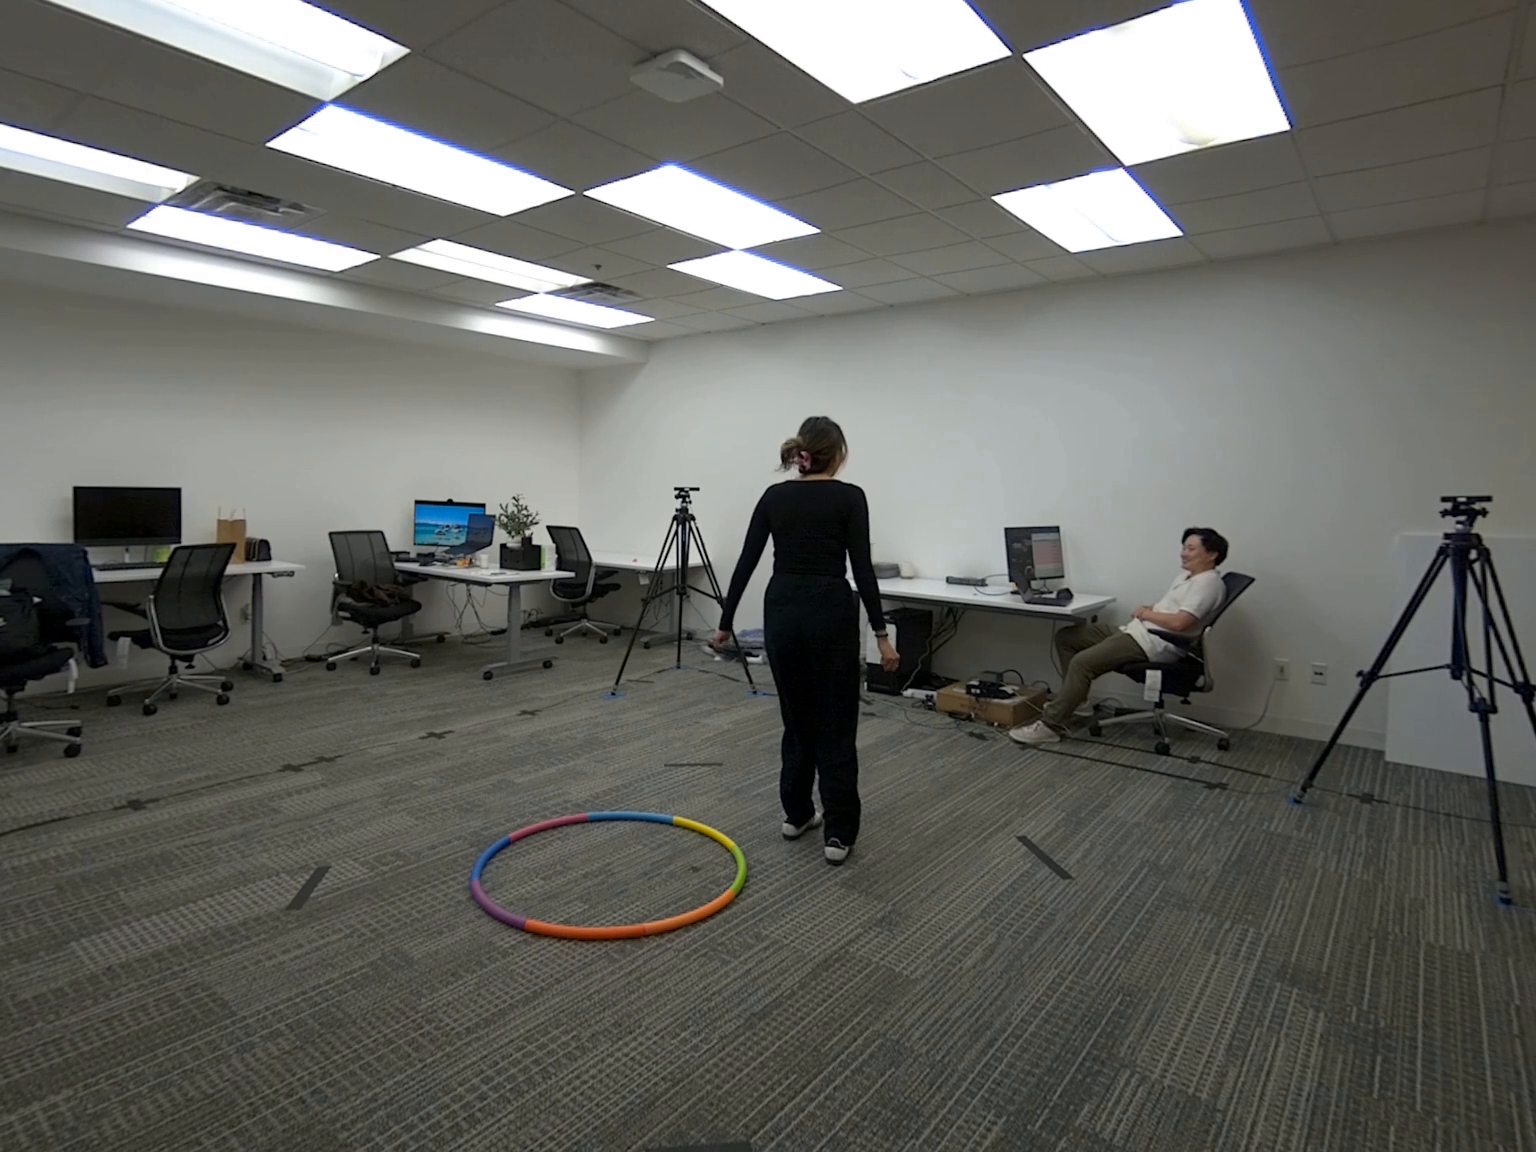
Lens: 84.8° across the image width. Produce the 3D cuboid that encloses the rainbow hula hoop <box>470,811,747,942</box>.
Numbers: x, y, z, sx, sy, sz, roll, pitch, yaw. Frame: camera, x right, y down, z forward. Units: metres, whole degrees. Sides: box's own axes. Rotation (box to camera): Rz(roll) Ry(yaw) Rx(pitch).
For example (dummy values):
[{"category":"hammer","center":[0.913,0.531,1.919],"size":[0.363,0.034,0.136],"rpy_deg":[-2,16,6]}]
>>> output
[{"category":"rainbow hula hoop","center":[-0.573,1.033,3.085],"size":[0.978,0.035,0.984],"rpy_deg":[1,6,-2]}]
